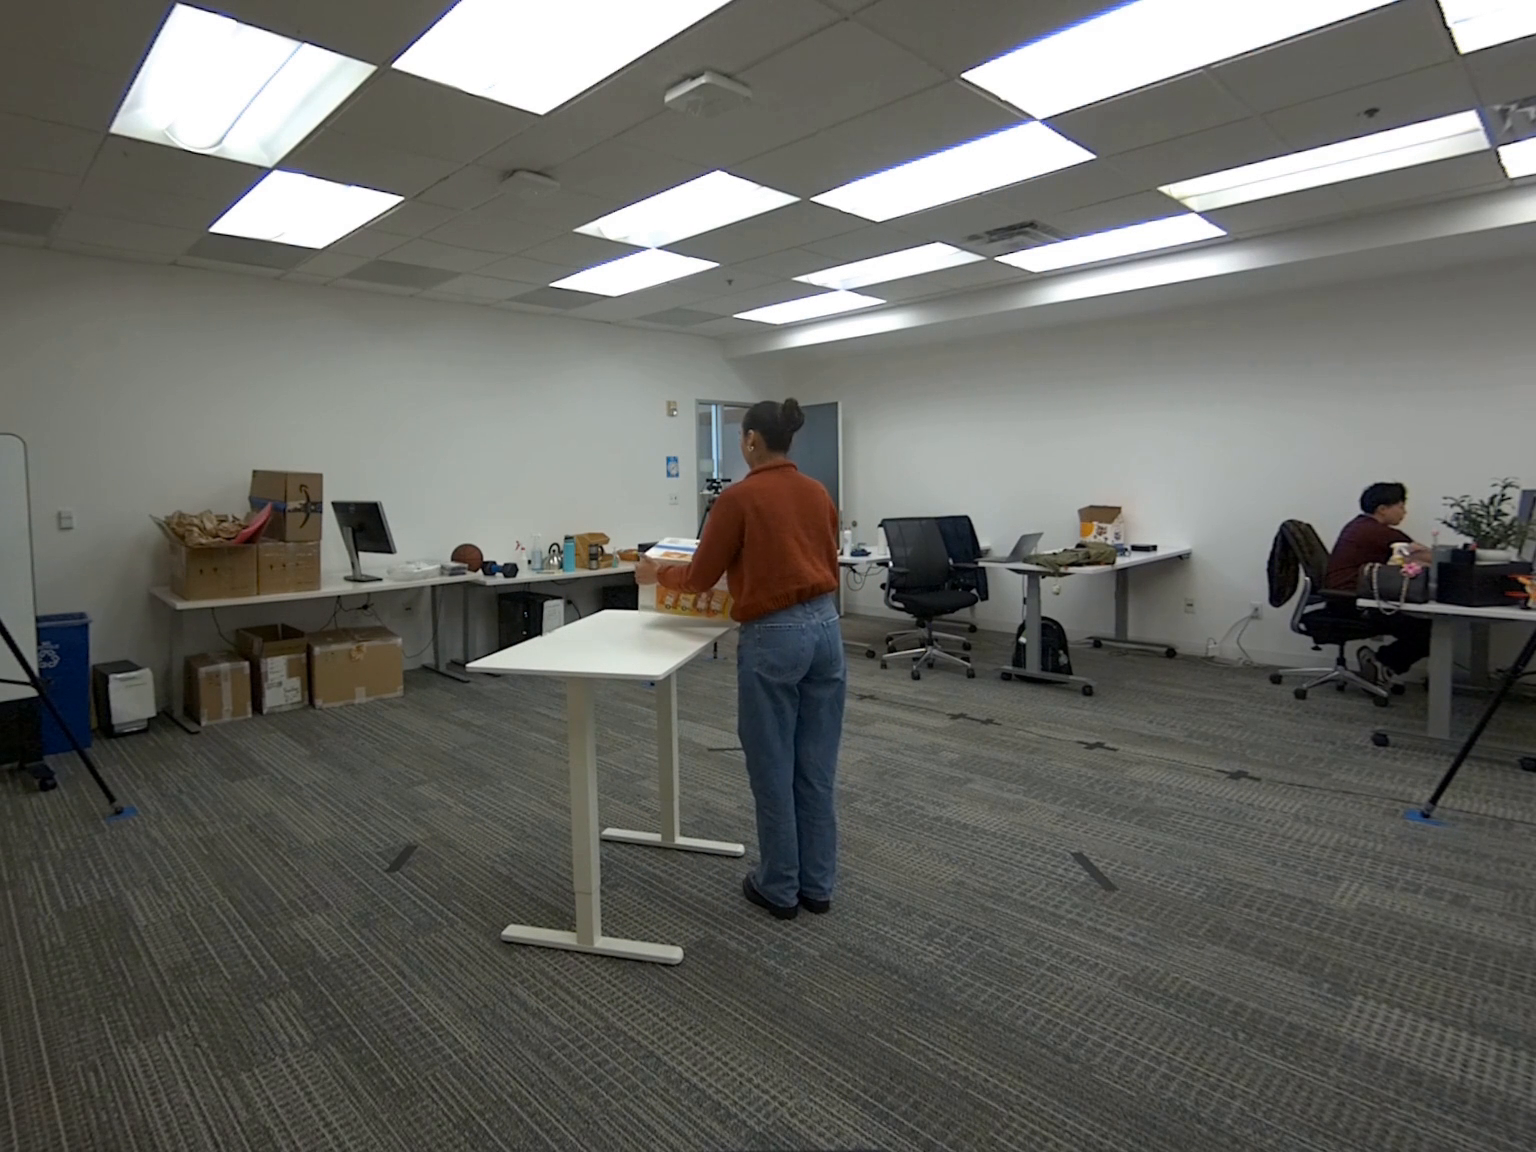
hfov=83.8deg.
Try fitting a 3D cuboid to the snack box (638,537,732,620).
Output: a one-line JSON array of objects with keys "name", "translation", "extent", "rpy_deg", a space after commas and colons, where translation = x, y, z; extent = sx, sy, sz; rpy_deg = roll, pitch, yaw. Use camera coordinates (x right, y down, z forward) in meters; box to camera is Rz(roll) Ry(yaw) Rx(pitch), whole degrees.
[{"name": "snack box", "translation": [-0.218, 0.009, 3.111], "extent": [0.410, 0.203, 0.341], "rpy_deg": [5, 15, 10]}]
